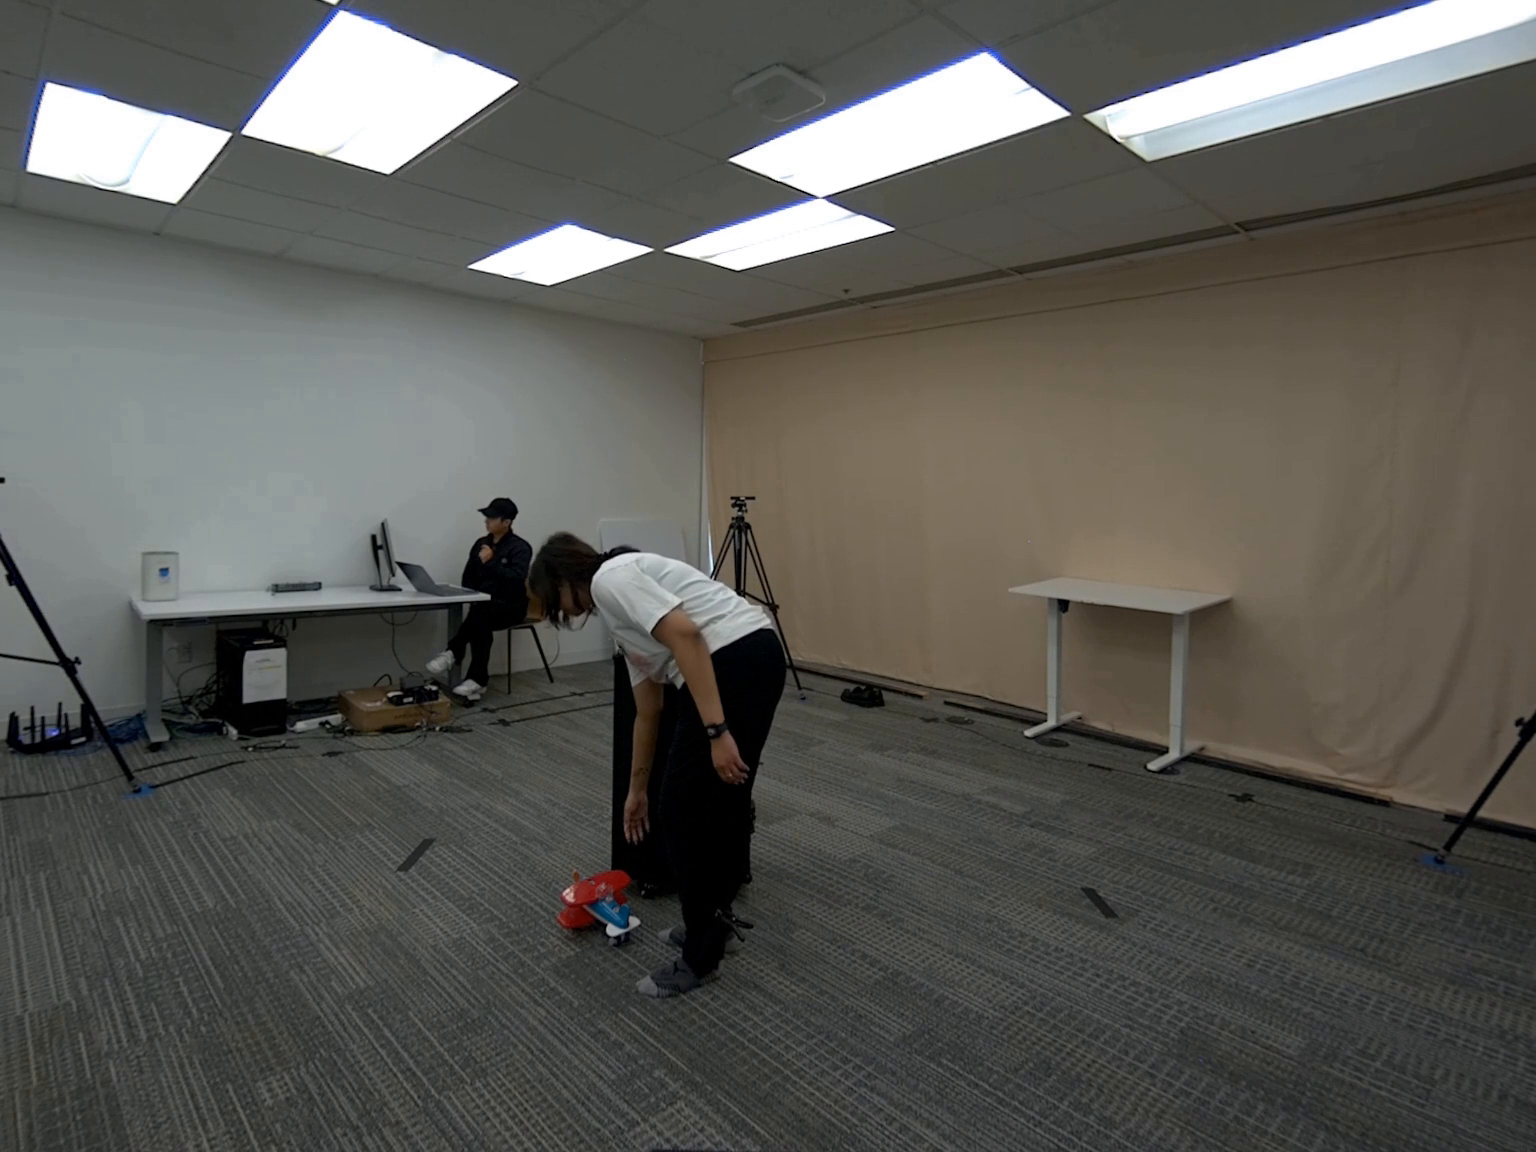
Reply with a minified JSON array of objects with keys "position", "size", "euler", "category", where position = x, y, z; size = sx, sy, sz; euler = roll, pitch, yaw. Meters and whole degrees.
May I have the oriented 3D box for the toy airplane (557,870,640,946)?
[{"position":[-0.541,1.068,2.689],"size":[0.262,0.156,0.249],"euler":[1,6,15],"category":"toy airplane"}]
